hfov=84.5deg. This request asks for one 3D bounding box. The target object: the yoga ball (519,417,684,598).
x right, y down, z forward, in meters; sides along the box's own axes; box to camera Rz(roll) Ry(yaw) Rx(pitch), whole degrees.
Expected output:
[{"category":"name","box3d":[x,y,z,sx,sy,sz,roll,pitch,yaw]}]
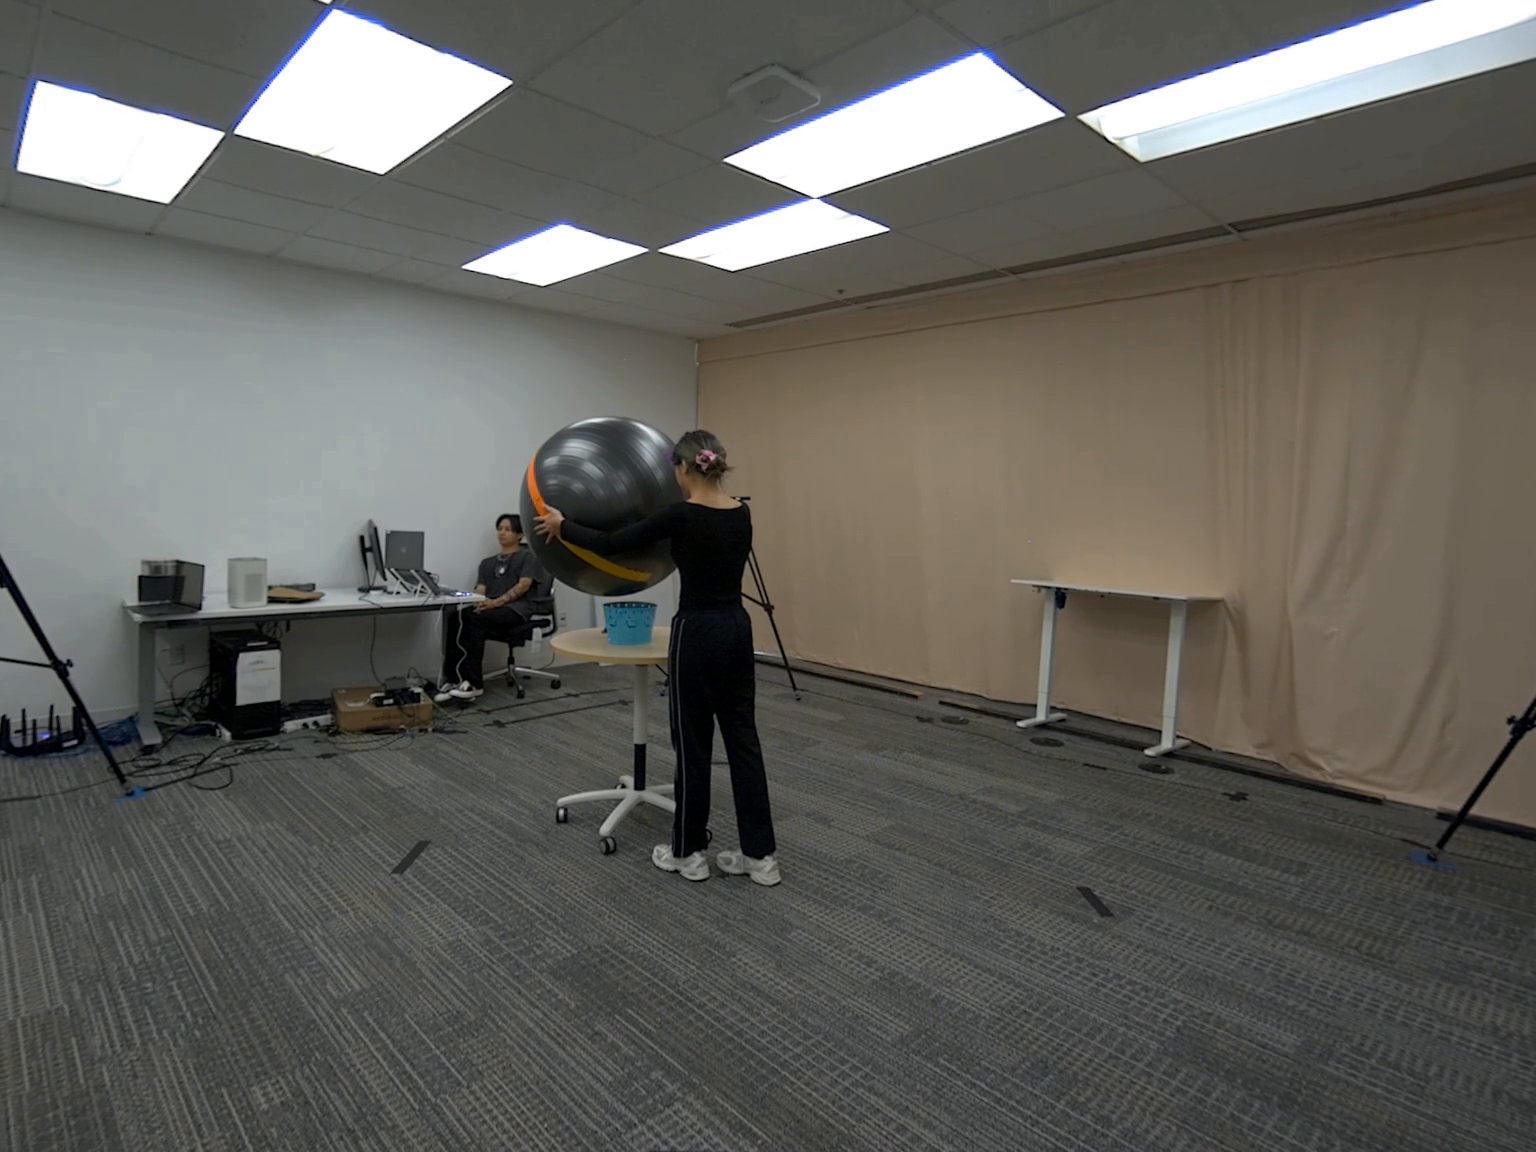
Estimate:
[{"category":"yoga ball","box3d":[-0.671,-0.289,3.568,0.757,0.756,0.761,1,4,-1]}]
